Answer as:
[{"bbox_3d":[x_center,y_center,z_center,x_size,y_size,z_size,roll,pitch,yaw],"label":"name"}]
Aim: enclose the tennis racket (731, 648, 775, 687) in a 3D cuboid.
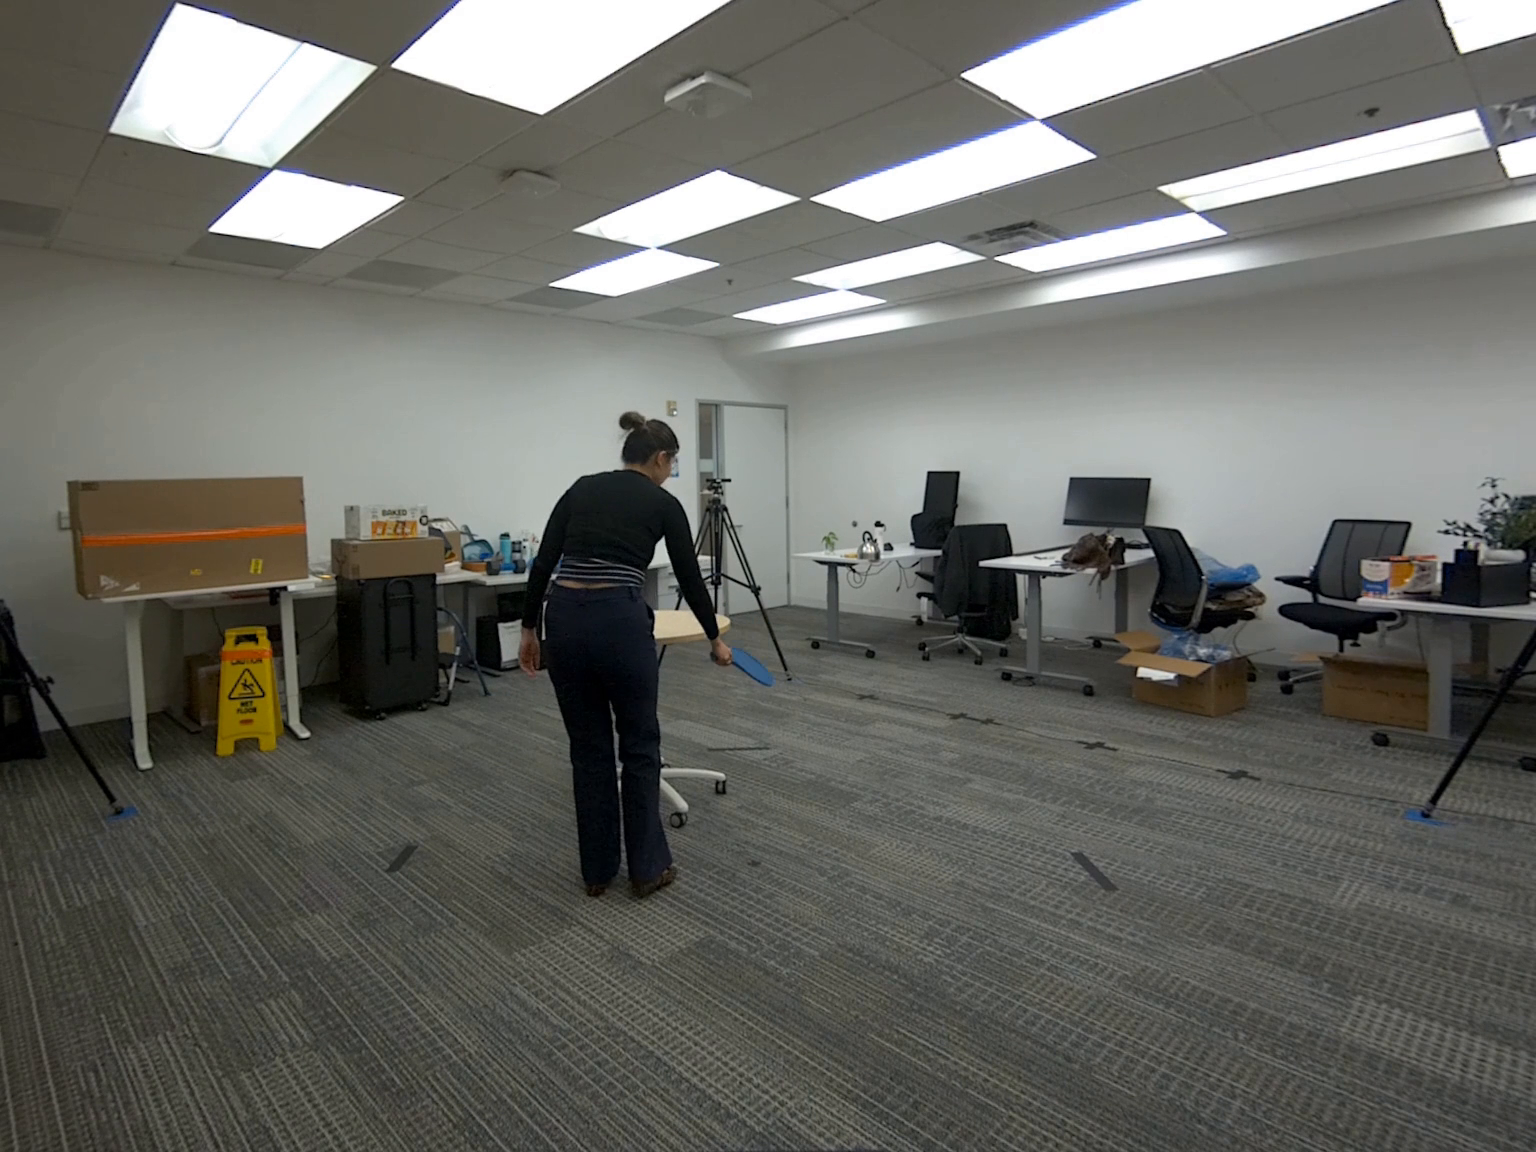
[{"bbox_3d":[-0.107,0.333,3.347,0.222,0.032,0.417,46,7,33],"label":"tennis racket"}]
